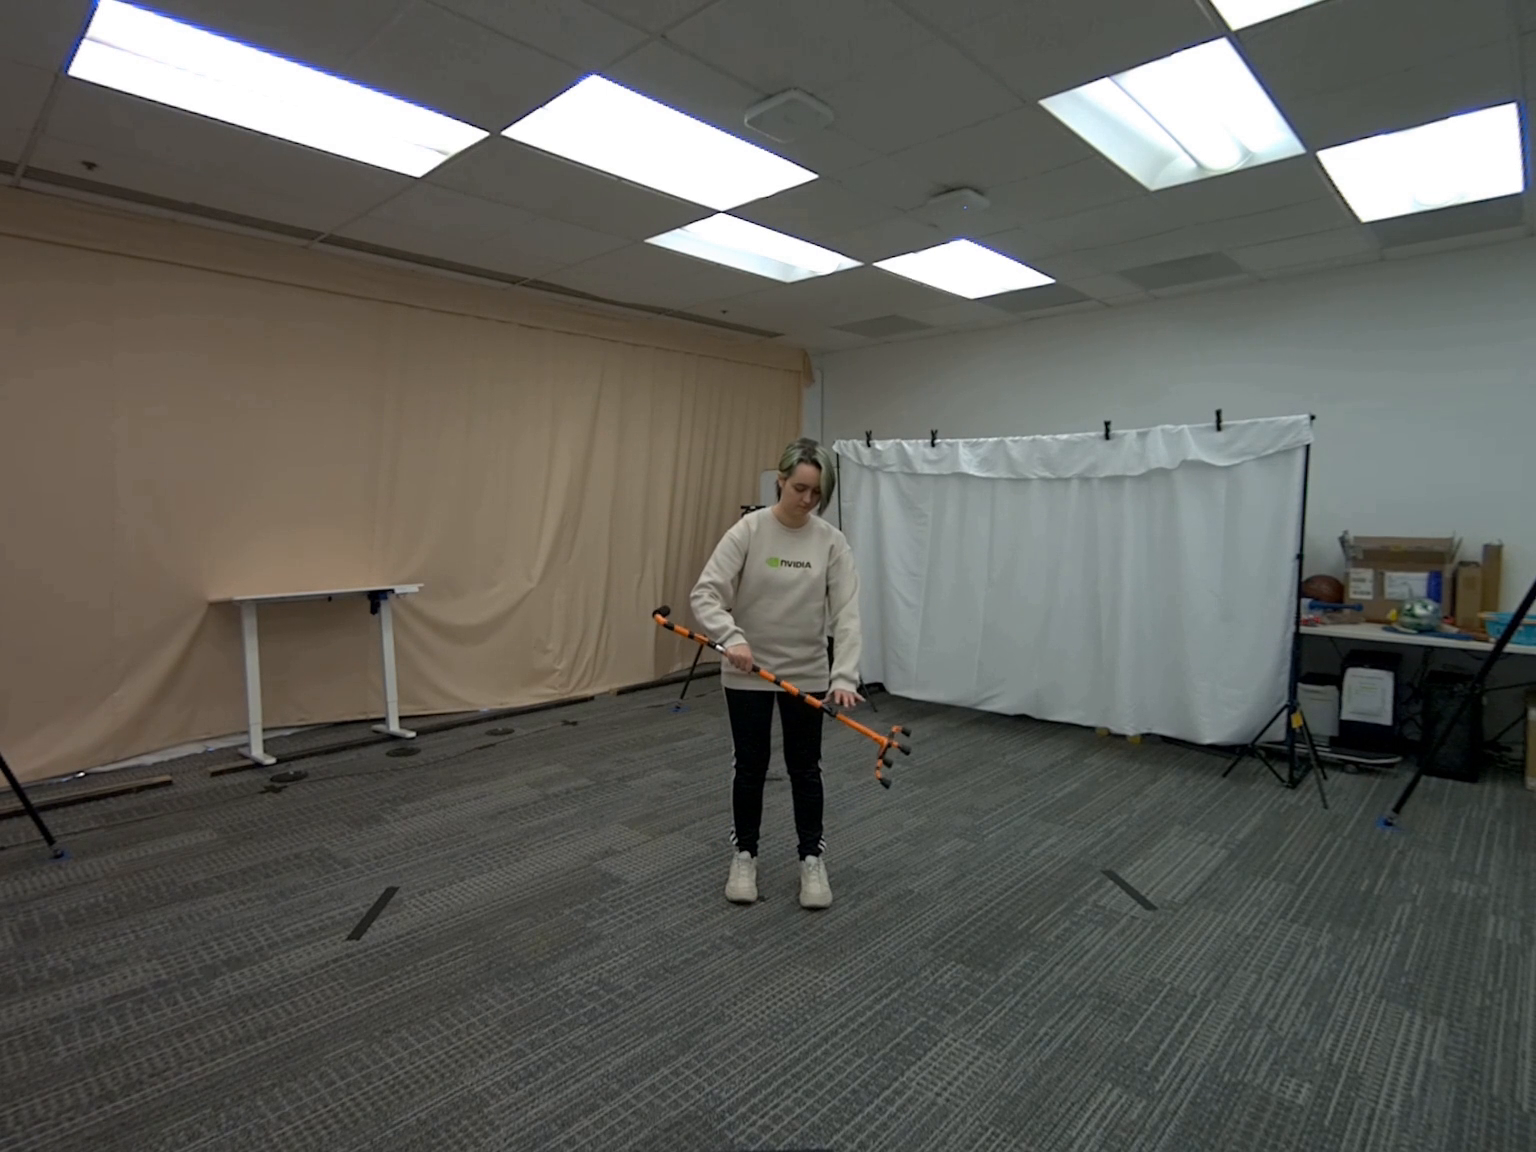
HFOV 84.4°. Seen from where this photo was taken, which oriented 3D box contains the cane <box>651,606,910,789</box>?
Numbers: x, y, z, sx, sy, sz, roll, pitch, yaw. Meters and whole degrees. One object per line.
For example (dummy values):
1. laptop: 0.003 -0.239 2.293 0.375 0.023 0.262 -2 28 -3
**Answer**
1. cane: 0.022 0.359 2.694 0.918 0.151 0.204 30 11 9
